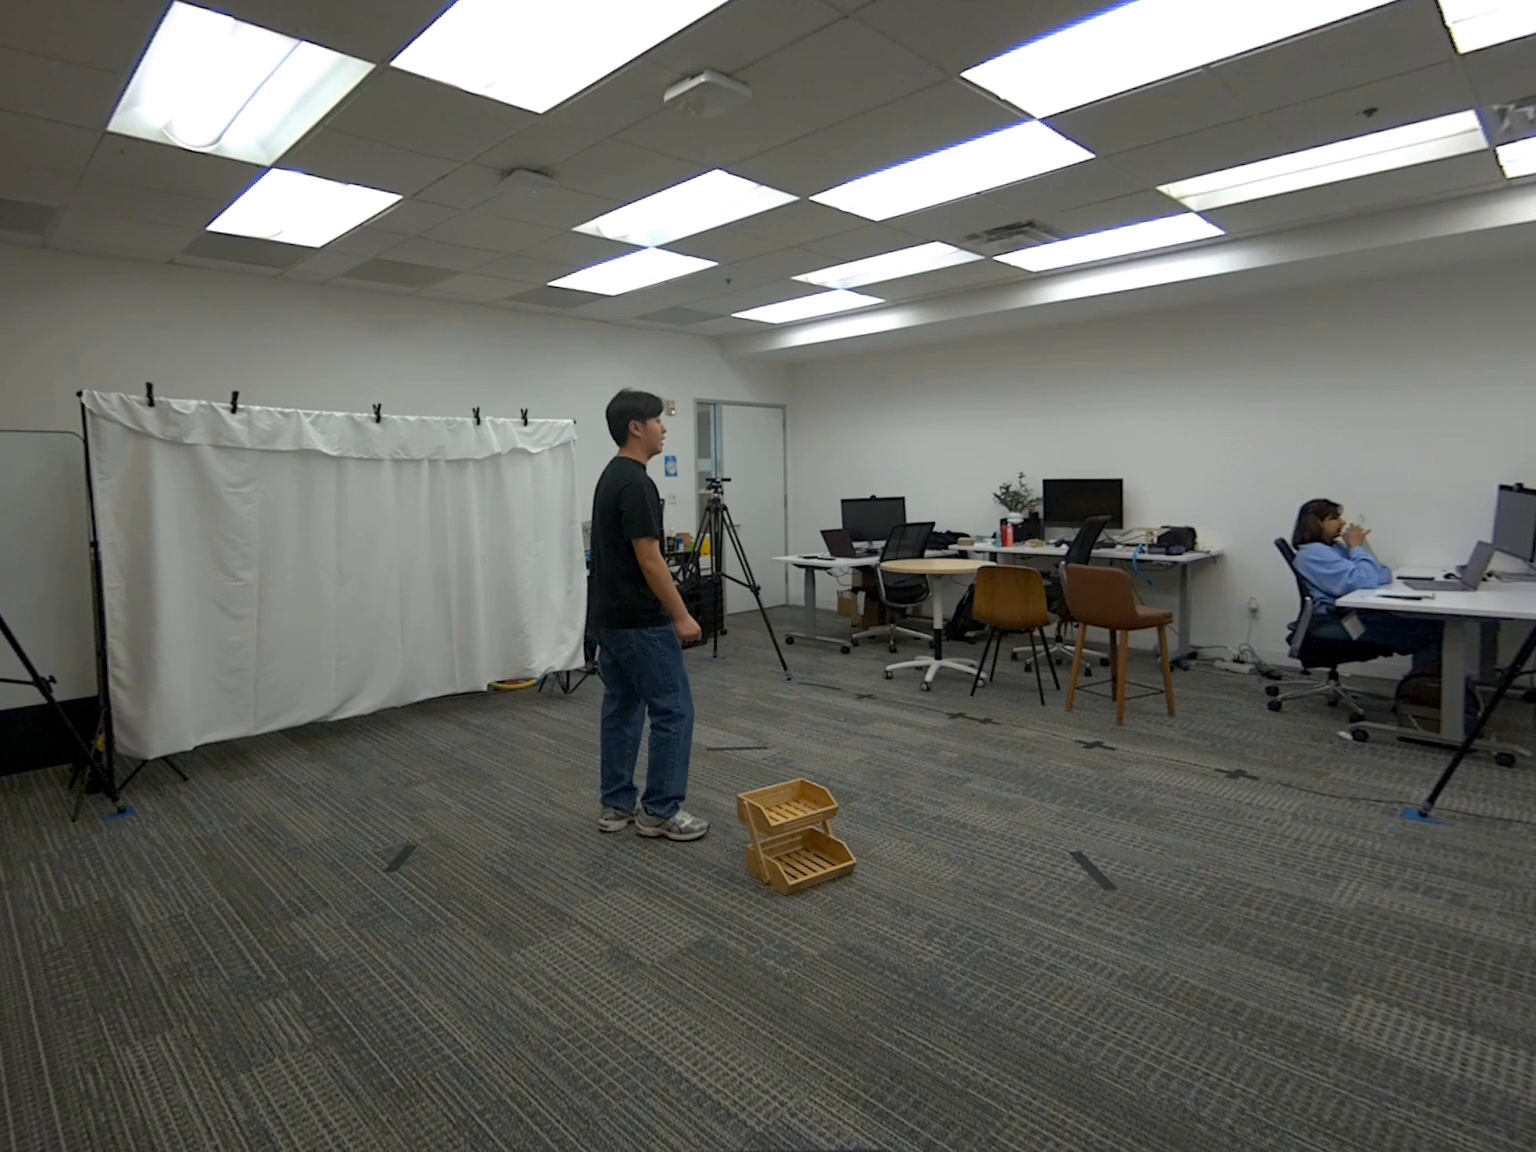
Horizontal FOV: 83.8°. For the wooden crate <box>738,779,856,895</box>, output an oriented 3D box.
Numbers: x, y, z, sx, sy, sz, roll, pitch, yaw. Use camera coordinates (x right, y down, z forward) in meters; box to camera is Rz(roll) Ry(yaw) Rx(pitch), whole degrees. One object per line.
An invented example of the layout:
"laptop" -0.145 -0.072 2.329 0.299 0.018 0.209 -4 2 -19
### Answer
"wooden crate" 0.105 0.912 3.035 0.316 0.272 0.311 -5 6 -35
